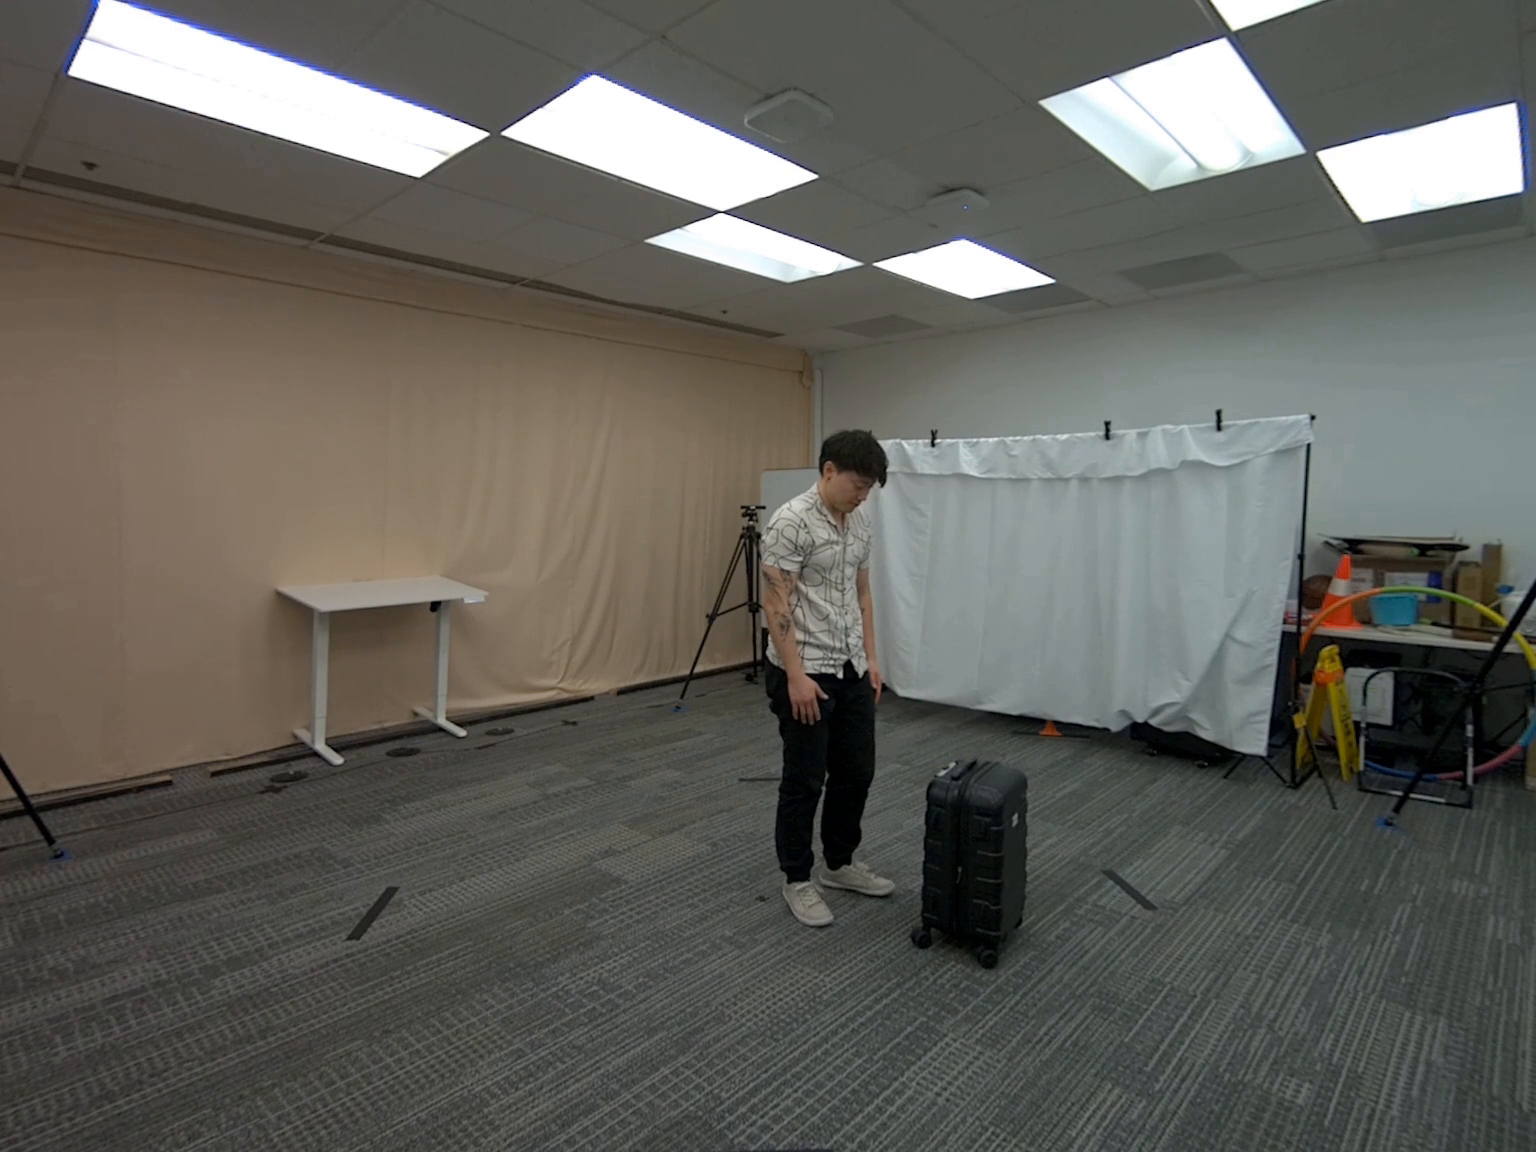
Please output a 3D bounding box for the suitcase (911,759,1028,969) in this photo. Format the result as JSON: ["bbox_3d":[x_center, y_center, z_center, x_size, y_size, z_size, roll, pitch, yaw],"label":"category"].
[{"bbox_3d":[0.680,0.891,2.707,0.256,0.548,0.365,5,5,33],"label":"suitcase"}]
